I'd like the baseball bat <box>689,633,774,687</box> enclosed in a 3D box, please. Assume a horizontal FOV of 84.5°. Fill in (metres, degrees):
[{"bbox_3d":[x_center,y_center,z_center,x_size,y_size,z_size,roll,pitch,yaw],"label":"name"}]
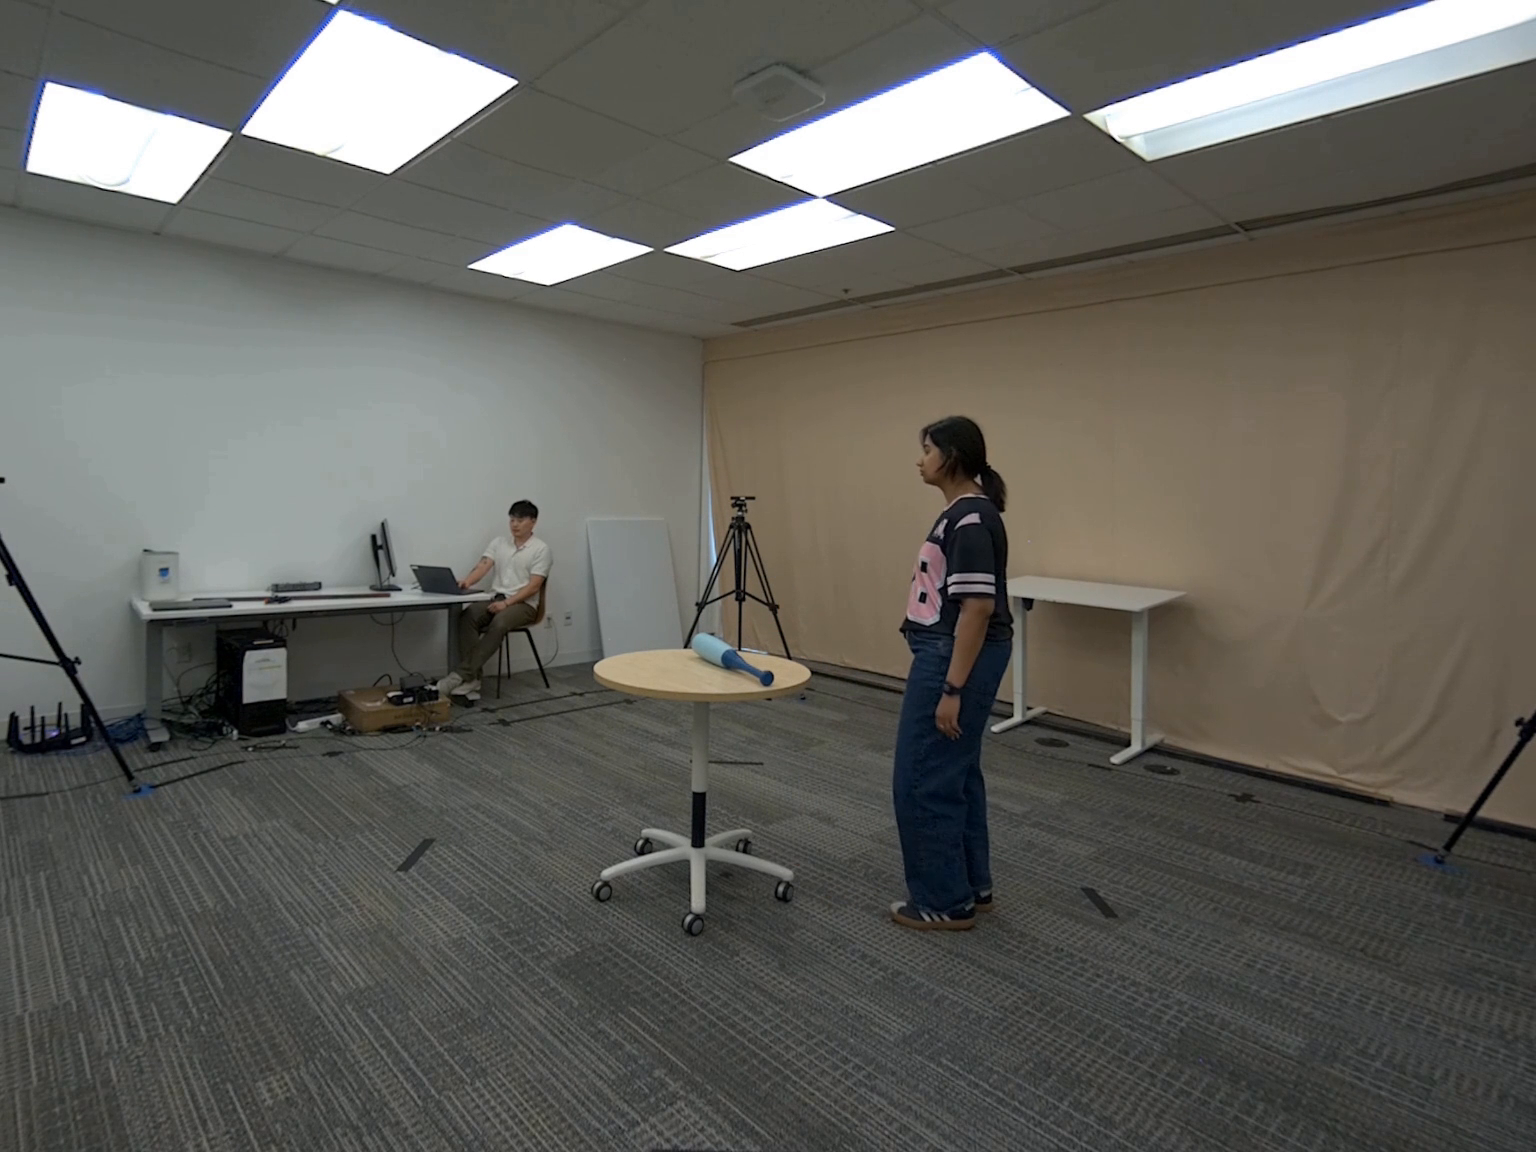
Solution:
[{"bbox_3d":[-0.125,0.298,2.962,0.087,0.088,0.556,-1,8,-29],"label":"baseball bat"}]
